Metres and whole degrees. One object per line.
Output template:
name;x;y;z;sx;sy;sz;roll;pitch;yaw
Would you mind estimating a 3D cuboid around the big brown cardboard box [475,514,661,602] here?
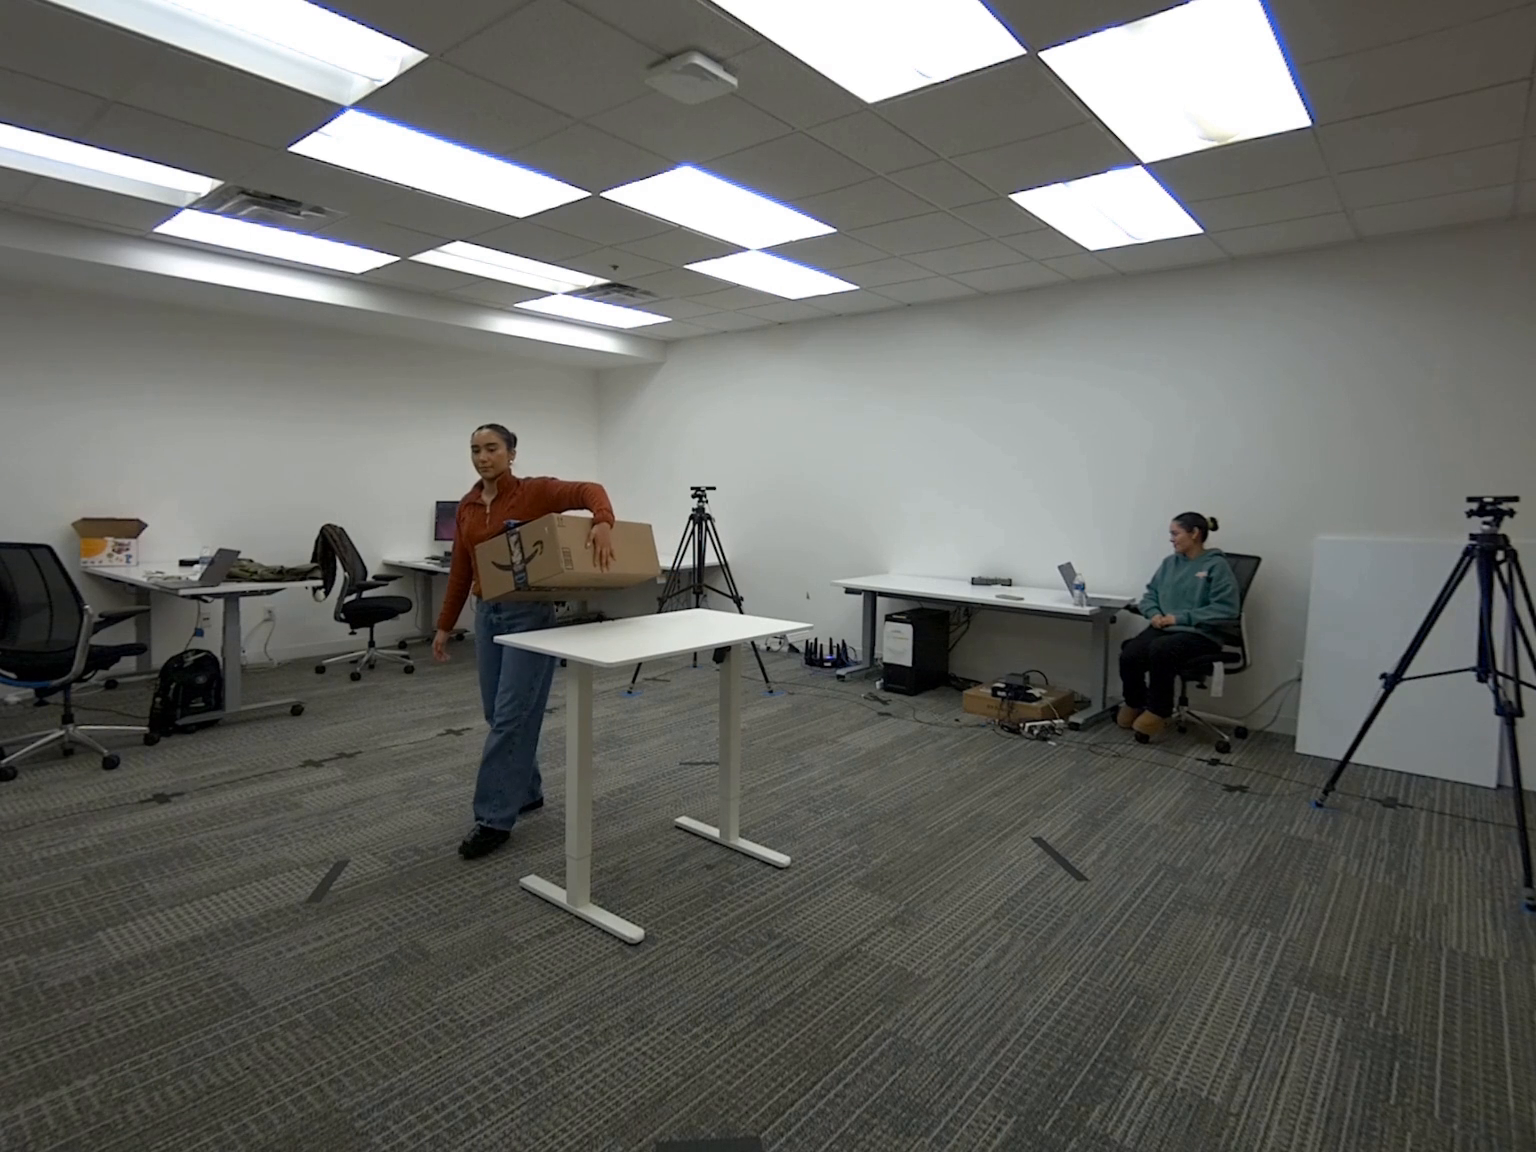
big brown cardboard box;-0.771;-0.064;3.263;0.425;0.236;0.570;-17;-11;29
